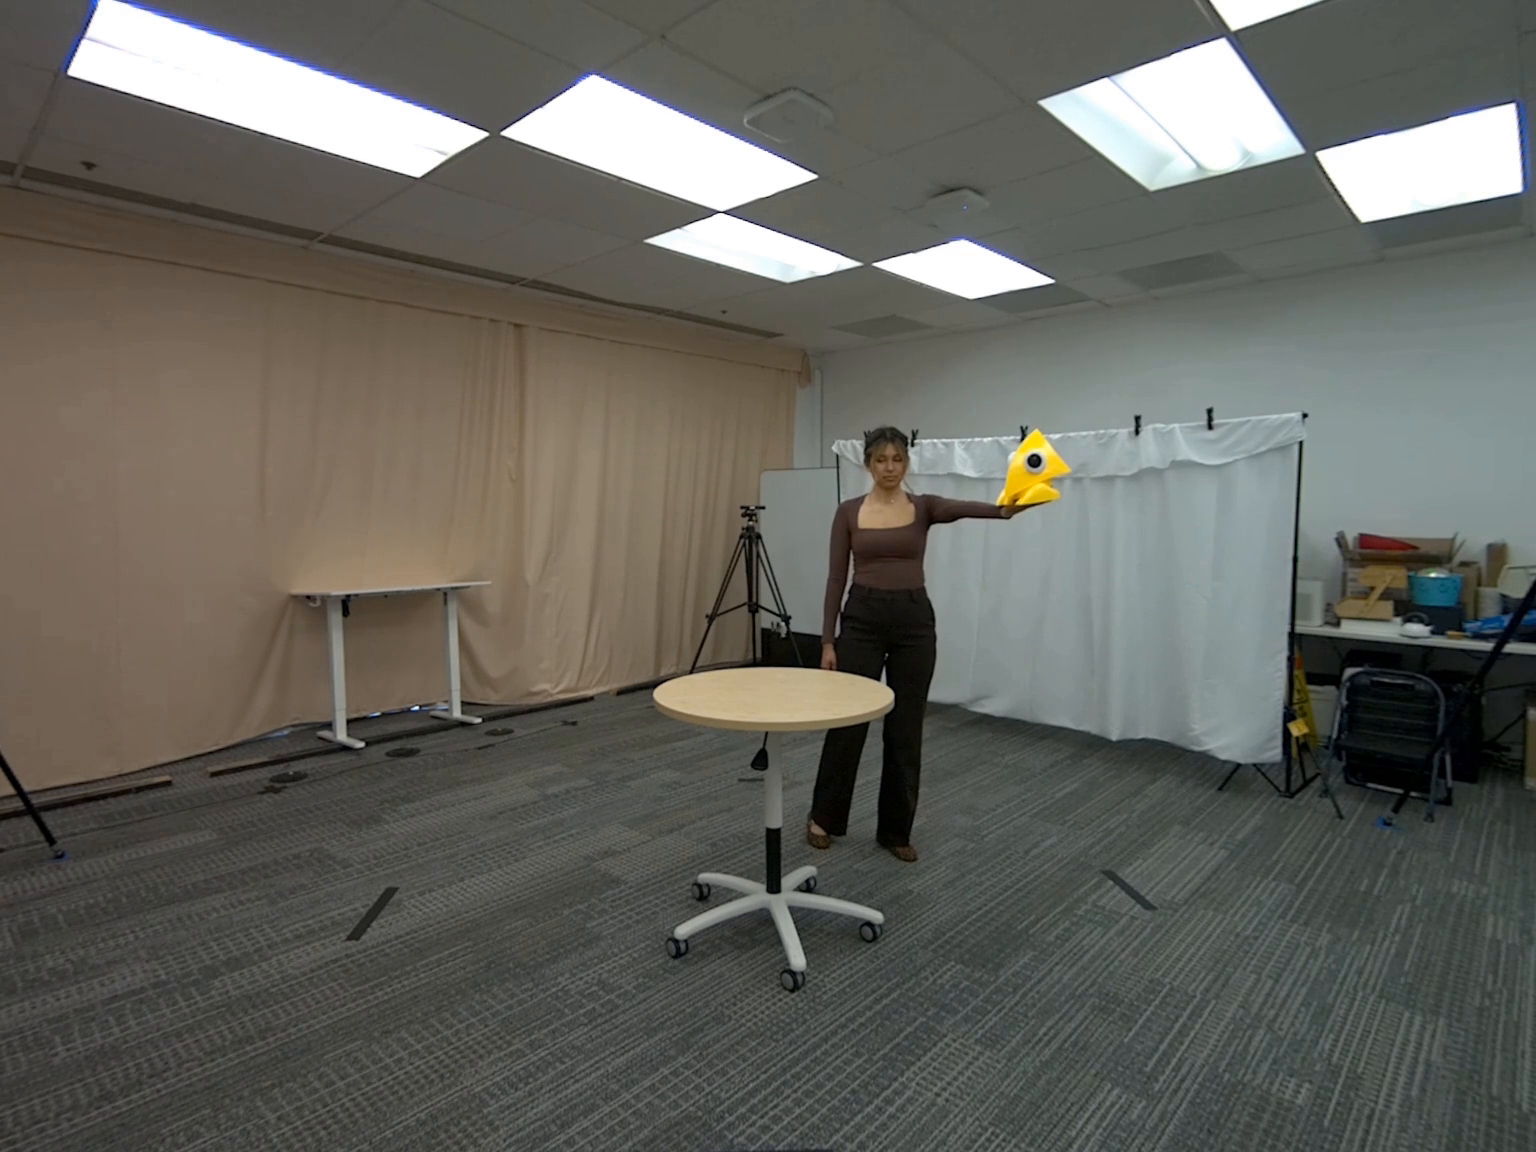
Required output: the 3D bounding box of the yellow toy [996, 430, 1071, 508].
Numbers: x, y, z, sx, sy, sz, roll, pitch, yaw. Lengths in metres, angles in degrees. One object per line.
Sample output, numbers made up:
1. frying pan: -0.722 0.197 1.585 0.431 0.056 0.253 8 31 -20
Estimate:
1. yellow toy: 0.861 -0.360 2.766 0.190 0.230 0.209 -11 6 -17
